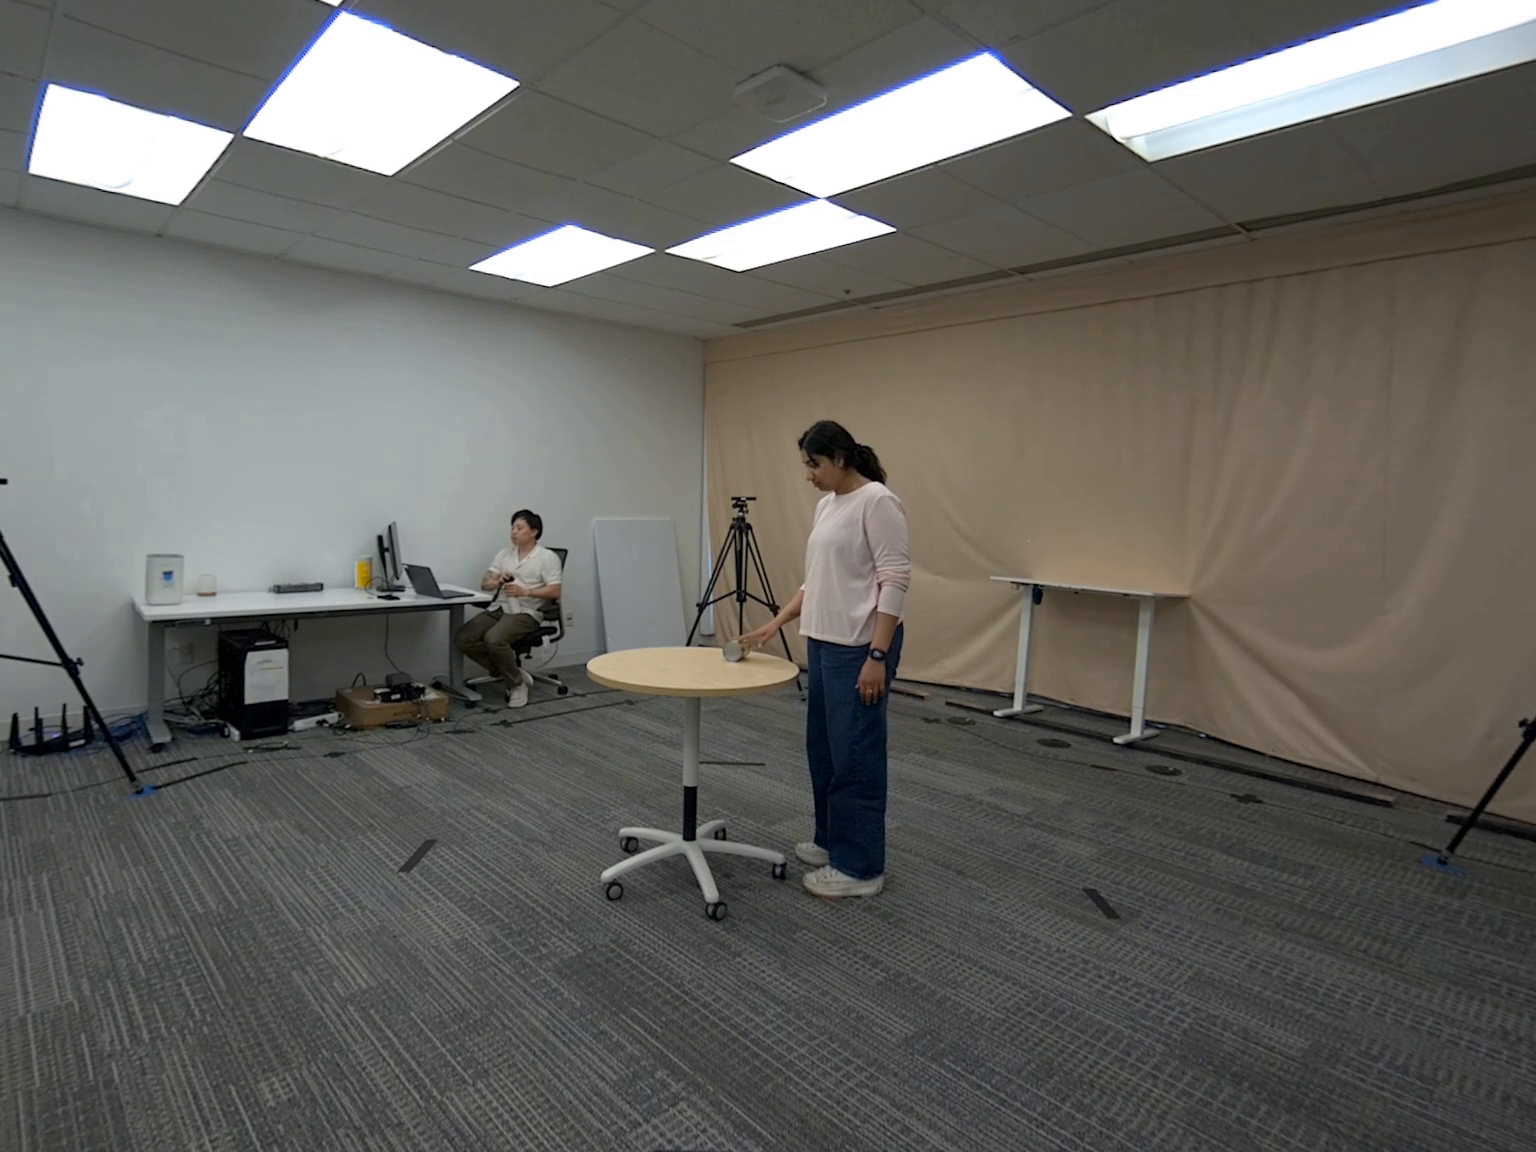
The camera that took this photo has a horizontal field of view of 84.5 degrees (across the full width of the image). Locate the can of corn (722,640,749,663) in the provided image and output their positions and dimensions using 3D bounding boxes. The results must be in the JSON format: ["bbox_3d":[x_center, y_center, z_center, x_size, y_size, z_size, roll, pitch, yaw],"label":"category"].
[{"bbox_3d":[-0.121,0.277,3.193,0.075,0.074,0.110,3,8,17],"label":"can of corn"}]
